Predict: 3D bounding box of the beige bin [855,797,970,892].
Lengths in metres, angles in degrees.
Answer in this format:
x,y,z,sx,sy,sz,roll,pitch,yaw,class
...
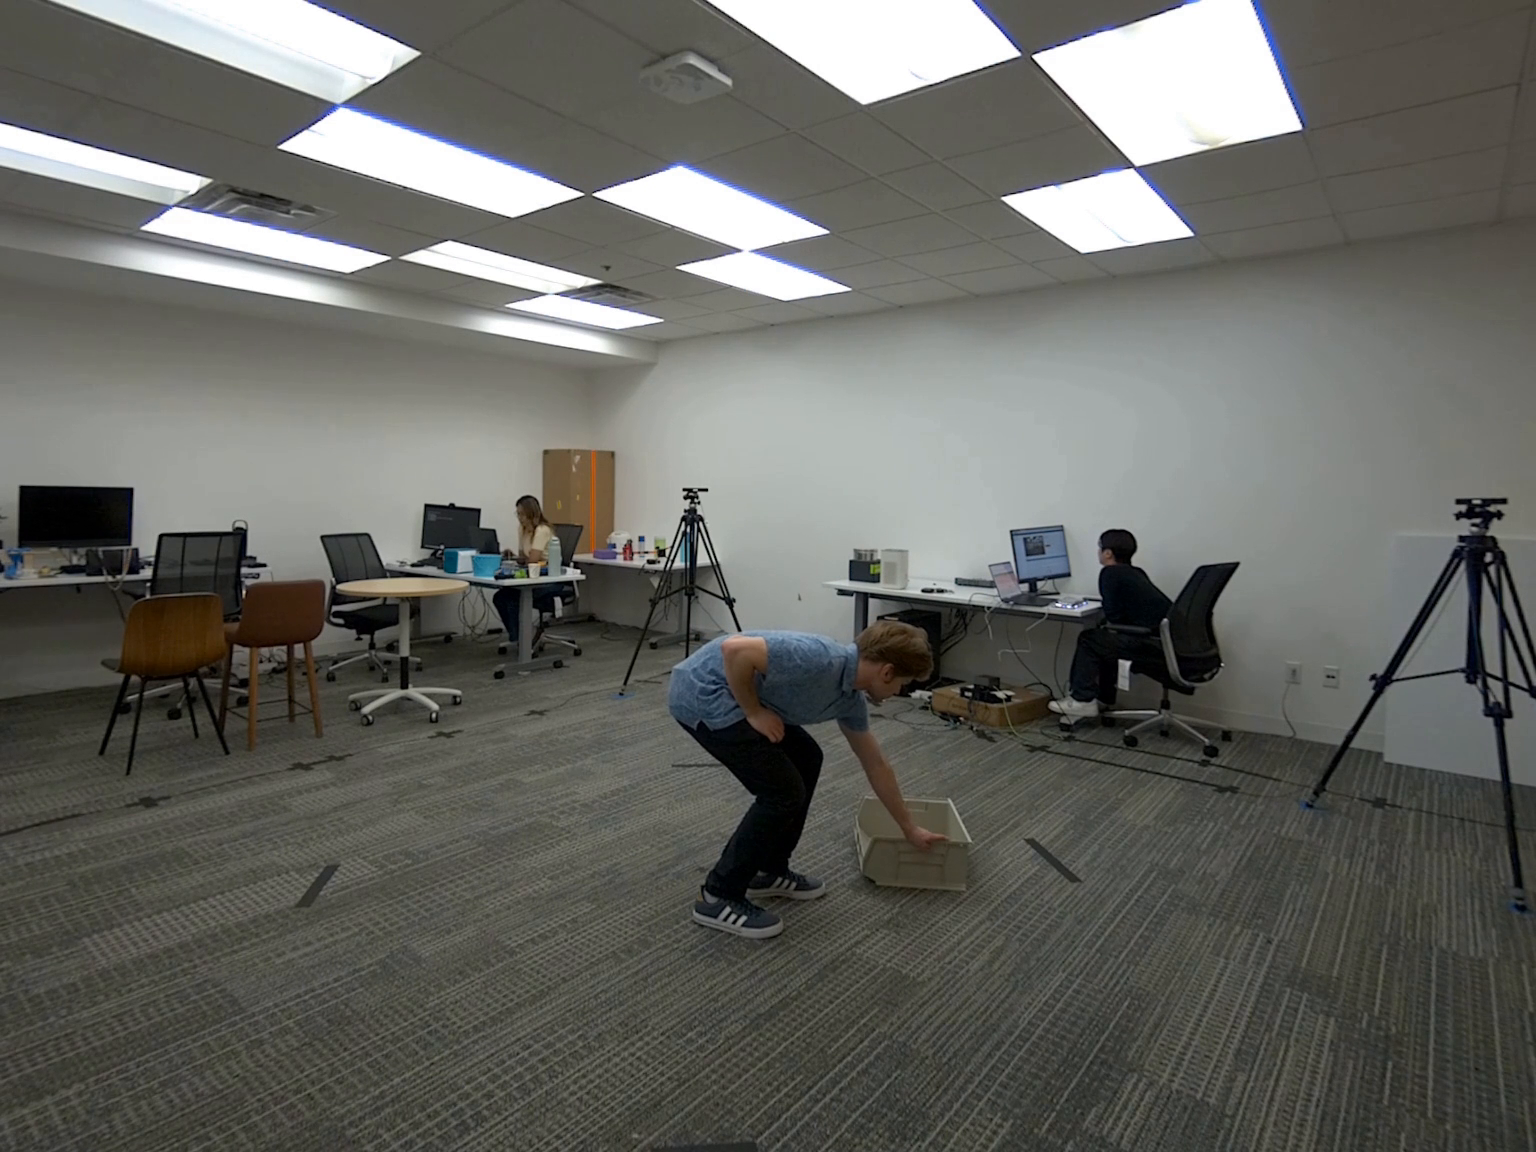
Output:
x,y,z,sx,sy,sz,roll,pitch,yaw,class
0.525,0.988,3.200,0.379,0.188,0.422,2,5,3,beige bin
